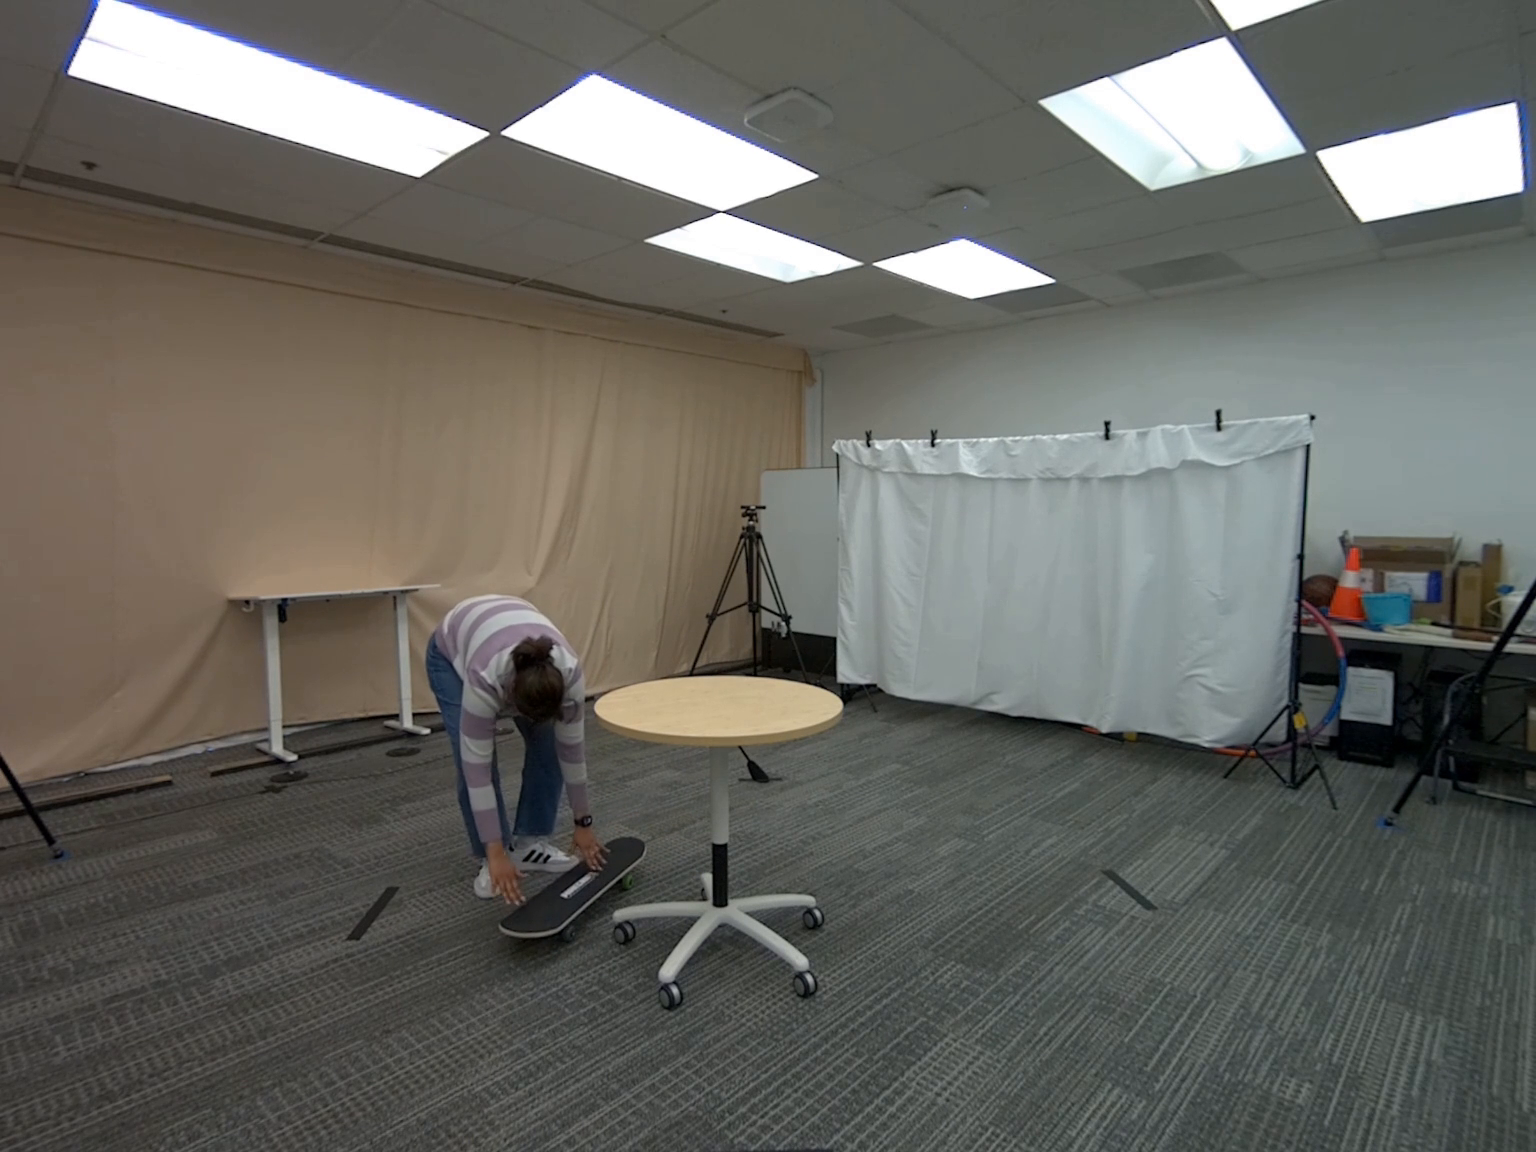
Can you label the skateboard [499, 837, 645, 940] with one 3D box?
[{"bbox_3d":[-0.647,1.094,2.912,0.198,0.110,0.770,2,5,19],"label":"skateboard"}]
